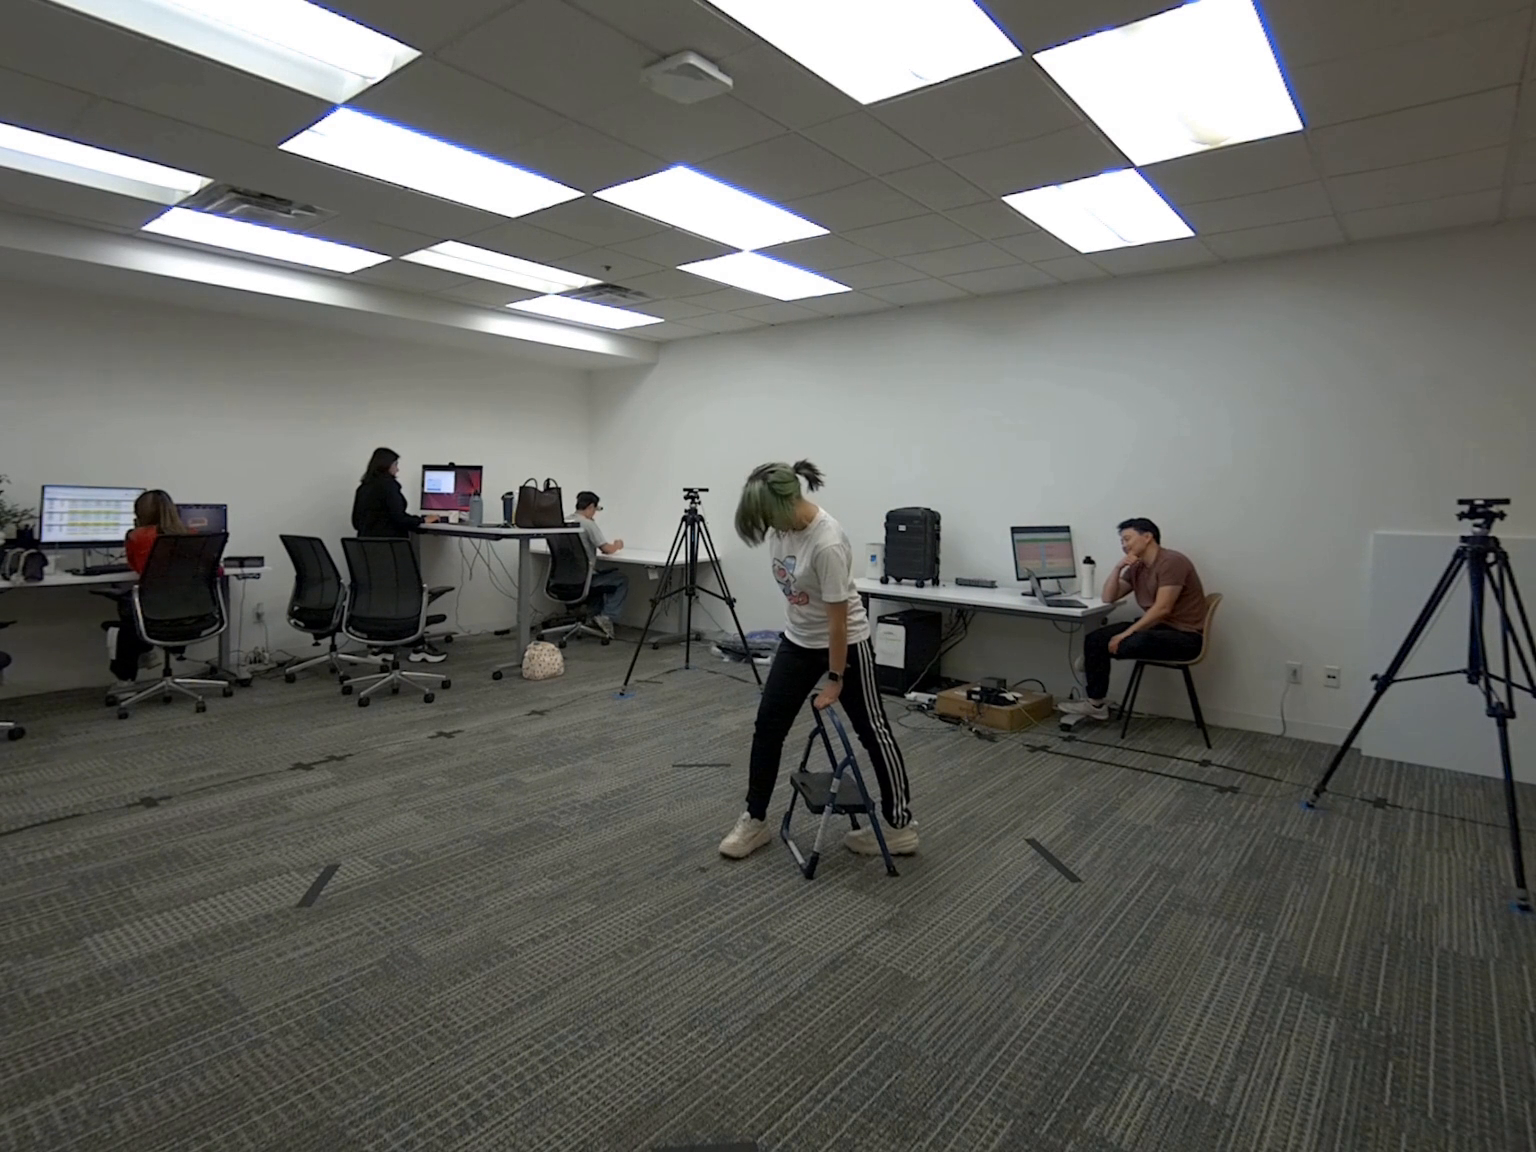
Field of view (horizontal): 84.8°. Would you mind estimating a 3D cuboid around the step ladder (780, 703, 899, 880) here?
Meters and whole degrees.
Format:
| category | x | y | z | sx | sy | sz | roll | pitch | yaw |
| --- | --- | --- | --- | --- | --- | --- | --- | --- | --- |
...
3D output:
| category | x | y | z | sx | sy | sz | roll | pitch | yaw |
| --- | --- | --- | --- | --- | --- | --- | --- | --- | --- |
| step ladder | 0.268 | 0.768 | 3.251 | 0.345 | 0.605 | 0.437 | 1 | 3 | -11 |
